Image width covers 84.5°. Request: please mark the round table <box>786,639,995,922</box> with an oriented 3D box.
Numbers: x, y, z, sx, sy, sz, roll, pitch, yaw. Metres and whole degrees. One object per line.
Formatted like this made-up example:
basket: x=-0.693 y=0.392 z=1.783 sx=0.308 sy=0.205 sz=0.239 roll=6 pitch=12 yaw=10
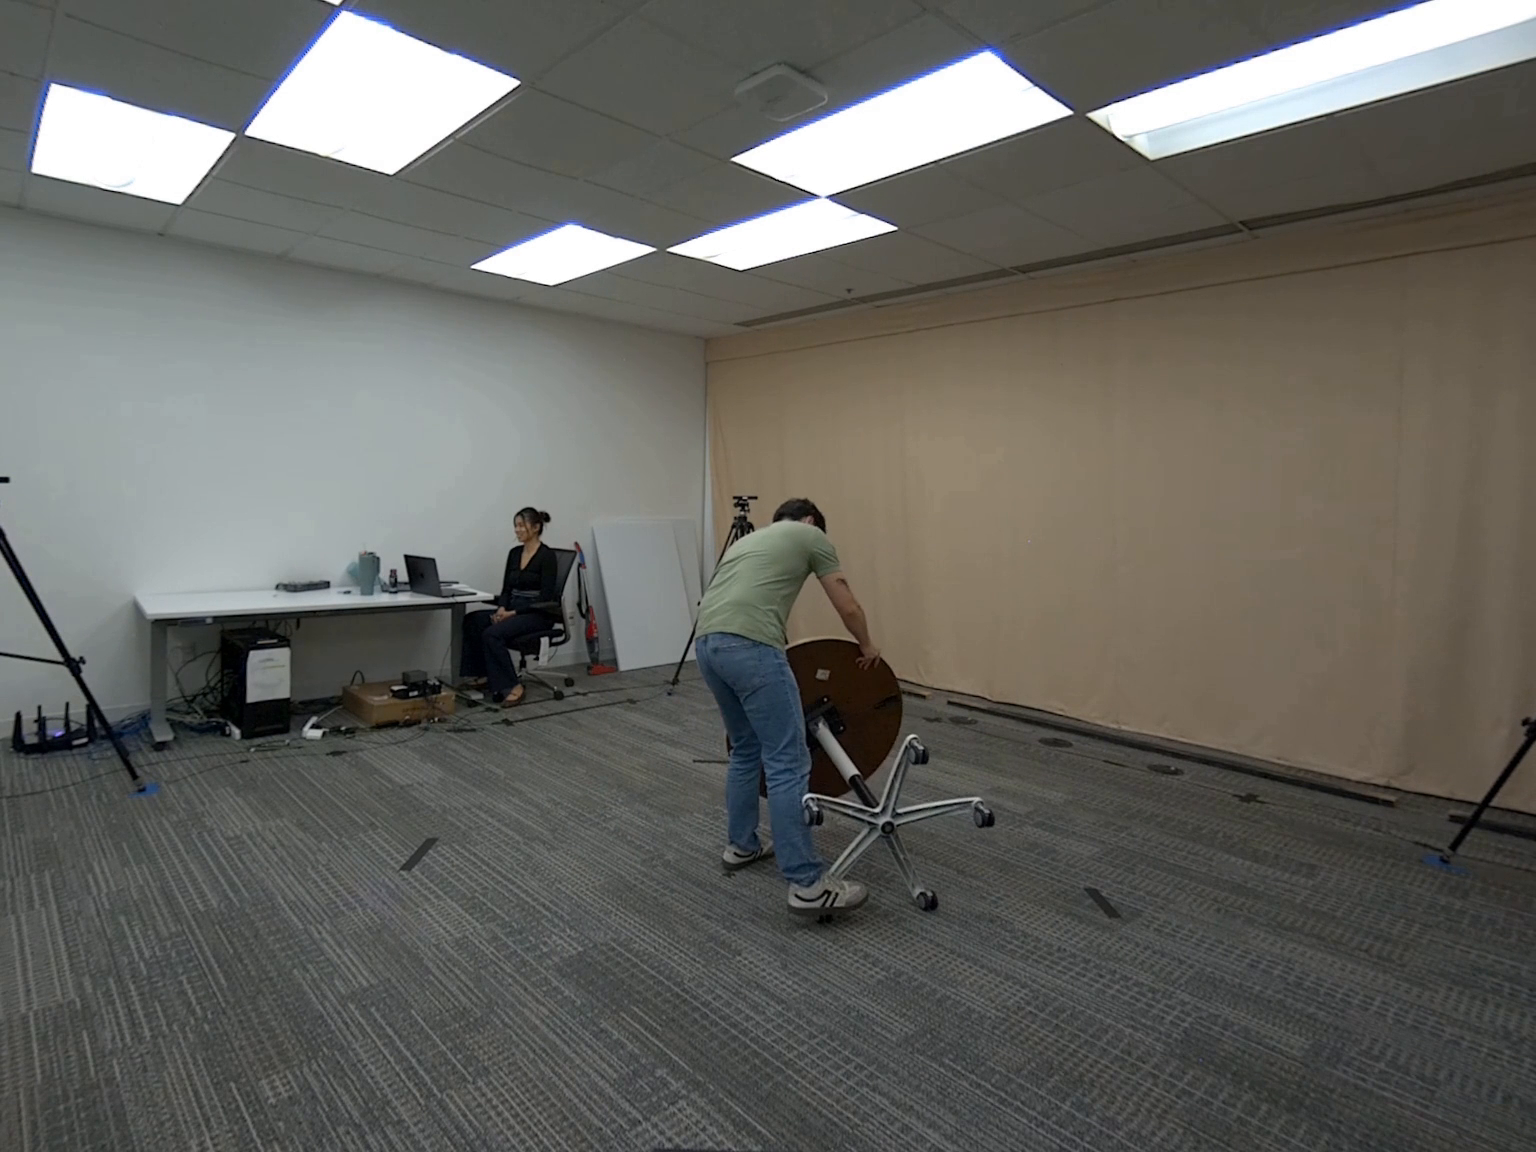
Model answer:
round table: x=0.308 y=0.739 z=3.098 sx=0.754 sy=0.755 sz=0.813 roll=0 pitch=19 yaw=-17
